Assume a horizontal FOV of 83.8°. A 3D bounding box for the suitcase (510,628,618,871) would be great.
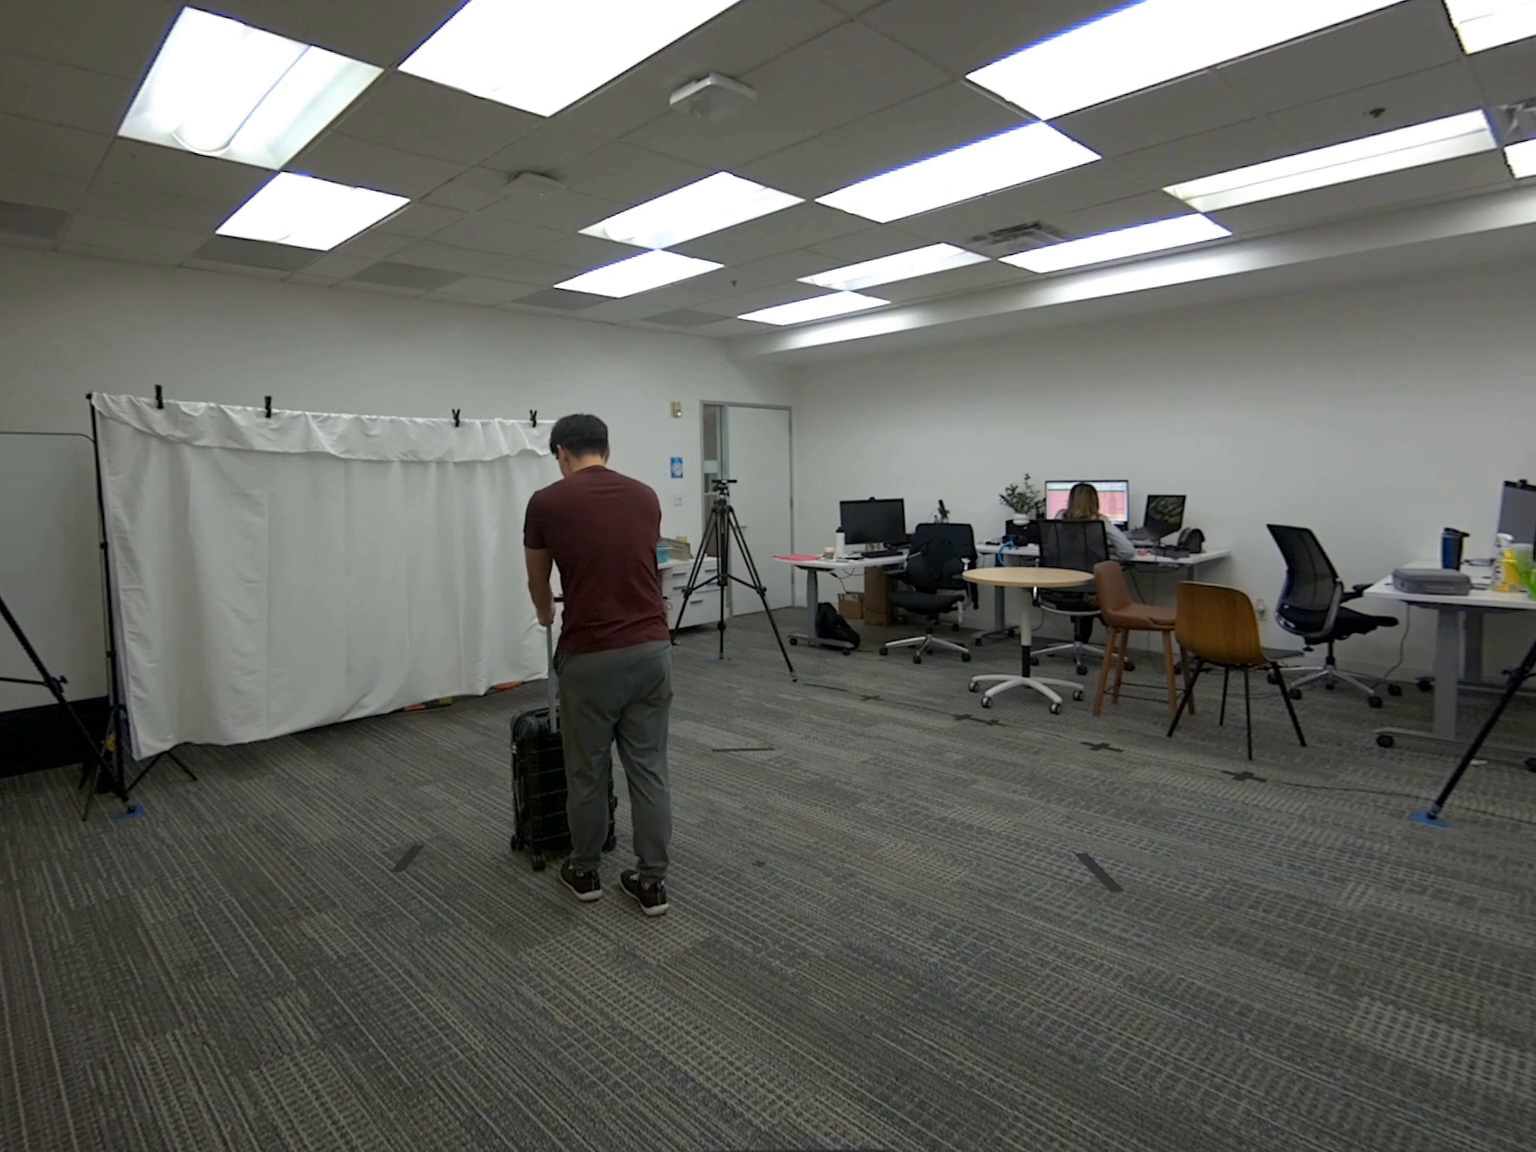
[{"bbox_3d":[-0.796,0.569,3.273,0.375,0.979,0.263,-1,0,-30],"label":"suitcase"}]
